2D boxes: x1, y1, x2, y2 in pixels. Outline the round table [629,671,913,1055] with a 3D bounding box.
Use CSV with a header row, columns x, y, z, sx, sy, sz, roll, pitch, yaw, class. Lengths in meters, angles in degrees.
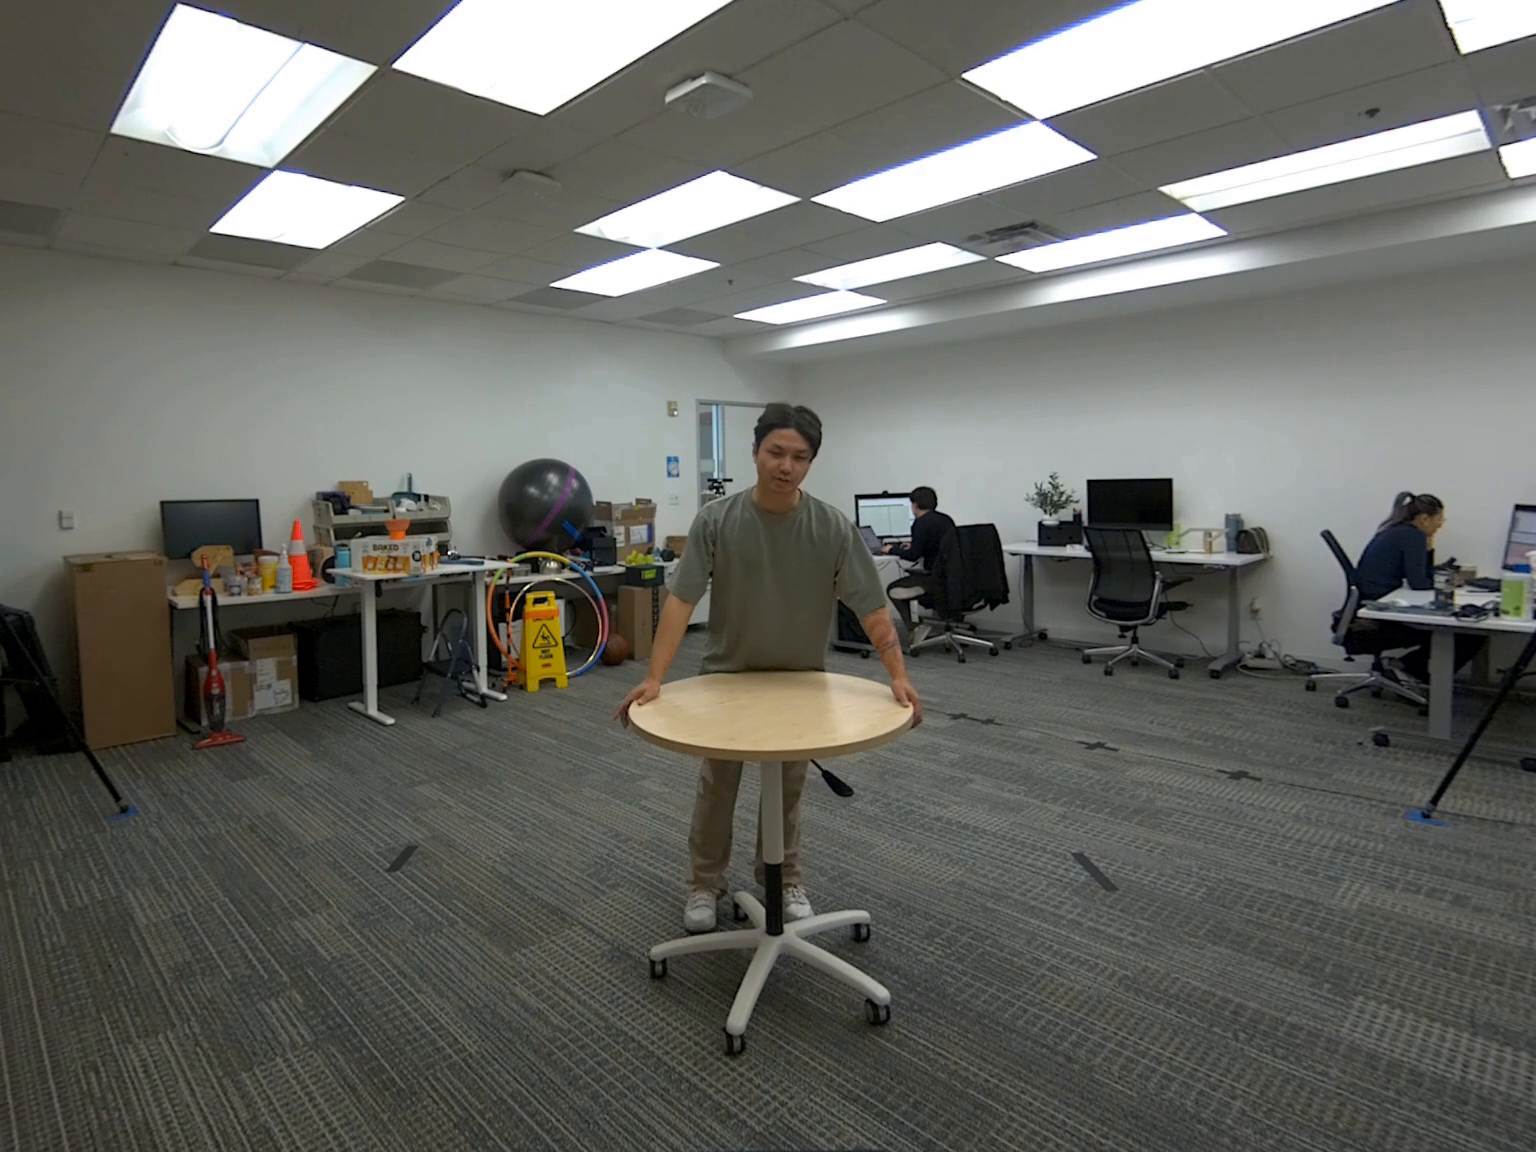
x,y,z,sx,sy,sz,roll,pitch,yaw,class
0.001,0.739,2.362,0.784,0.783,0.790,-1,6,-2,round table
